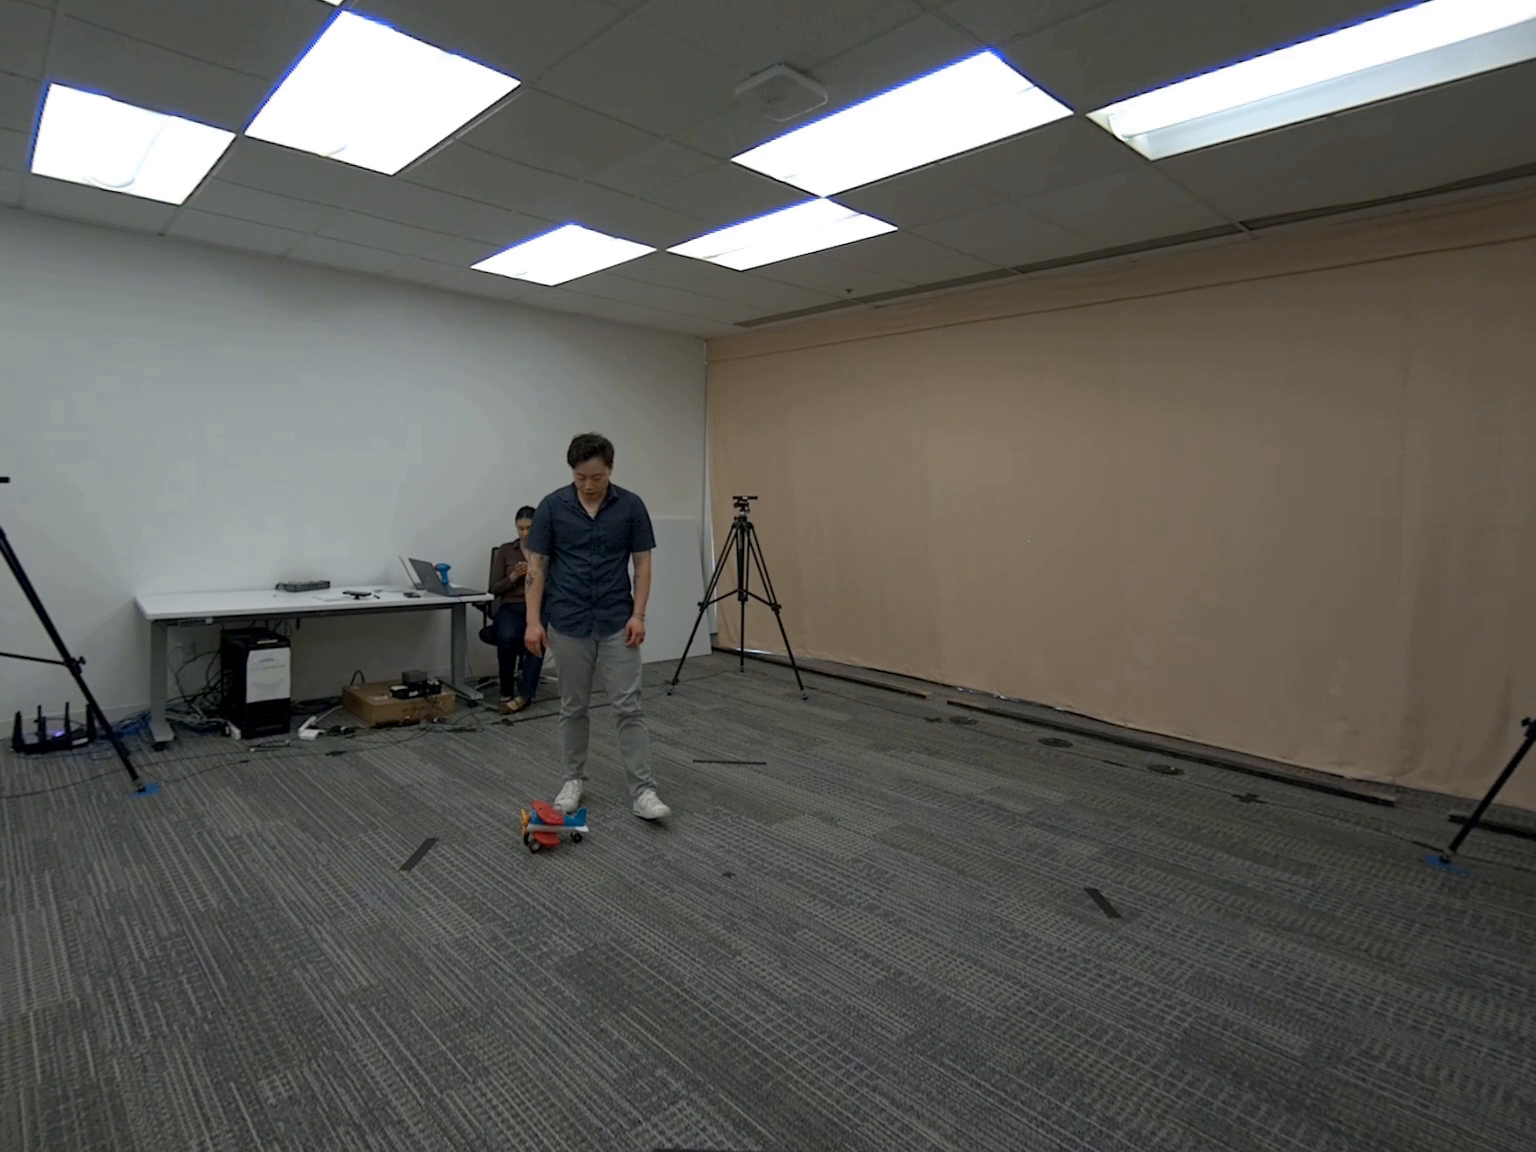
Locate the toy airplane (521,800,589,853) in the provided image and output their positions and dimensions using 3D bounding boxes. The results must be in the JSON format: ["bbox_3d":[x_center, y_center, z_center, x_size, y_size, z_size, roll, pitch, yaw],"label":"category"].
[{"bbox_3d":[-0.868,0.992,3.347,0.257,0.156,0.254,4,5,33],"label":"toy airplane"}]
